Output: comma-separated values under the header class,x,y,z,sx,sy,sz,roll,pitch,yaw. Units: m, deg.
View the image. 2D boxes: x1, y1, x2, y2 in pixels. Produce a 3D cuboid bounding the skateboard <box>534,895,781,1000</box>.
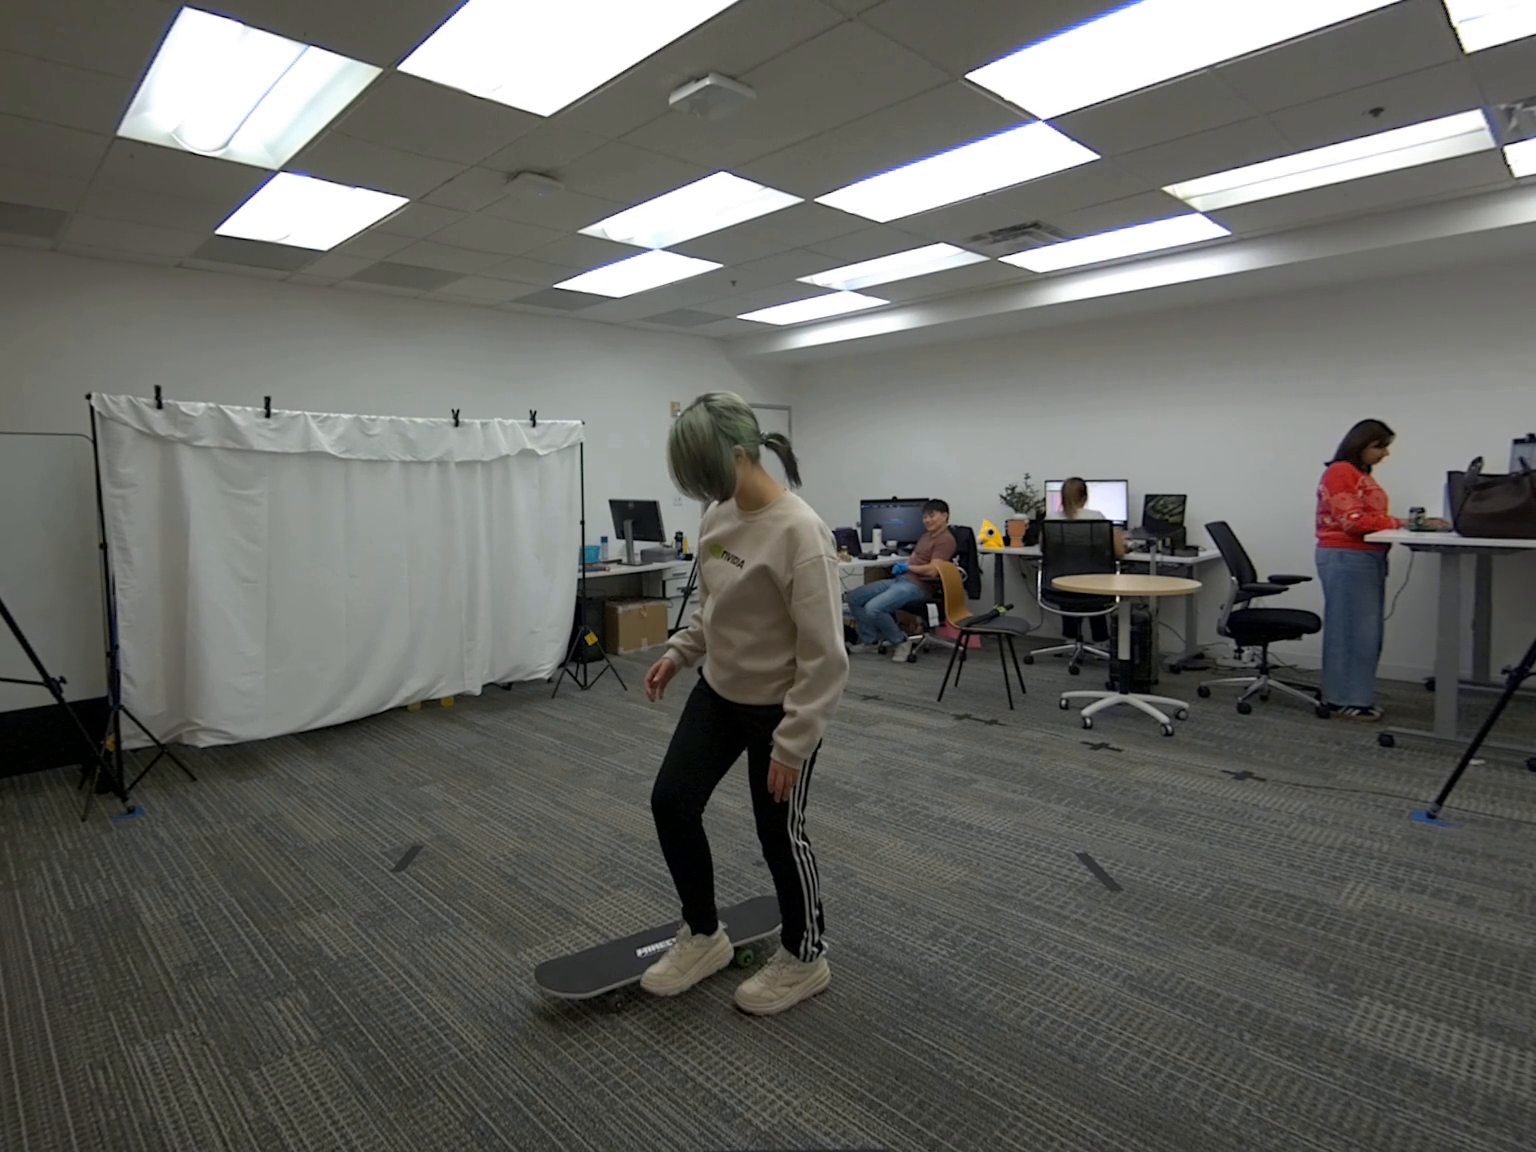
class,x,y,z,sx,sy,sz,roll,pitch,yaw
skateboard,-0.269,1.071,2.427,0.767,0.110,0.199,-5,8,-30
